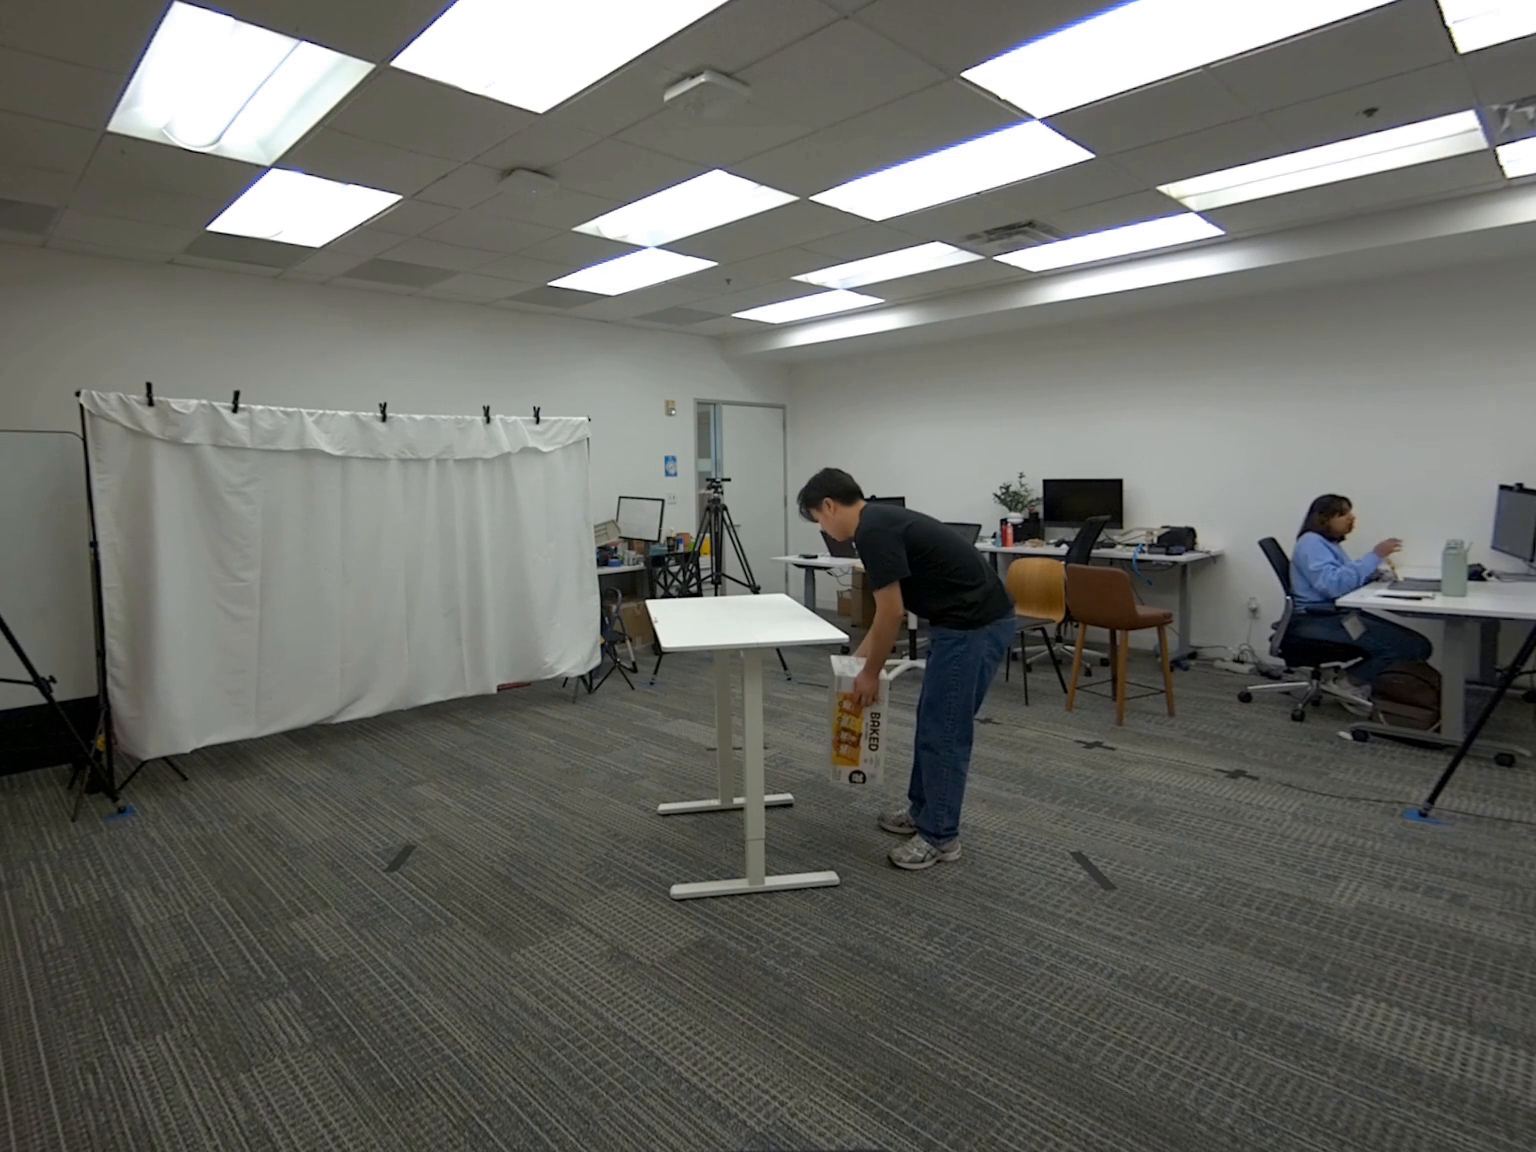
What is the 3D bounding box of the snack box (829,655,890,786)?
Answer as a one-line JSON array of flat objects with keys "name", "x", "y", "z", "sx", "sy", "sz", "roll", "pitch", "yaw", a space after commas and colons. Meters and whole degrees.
[{"name": "snack box", "x": 0.342, "y": 0.548, "z": 3.321, "sx": 0.206, "sy": 0.403, "sz": 0.341, "roll": 3, "pitch": 6, "yaw": 3}]
